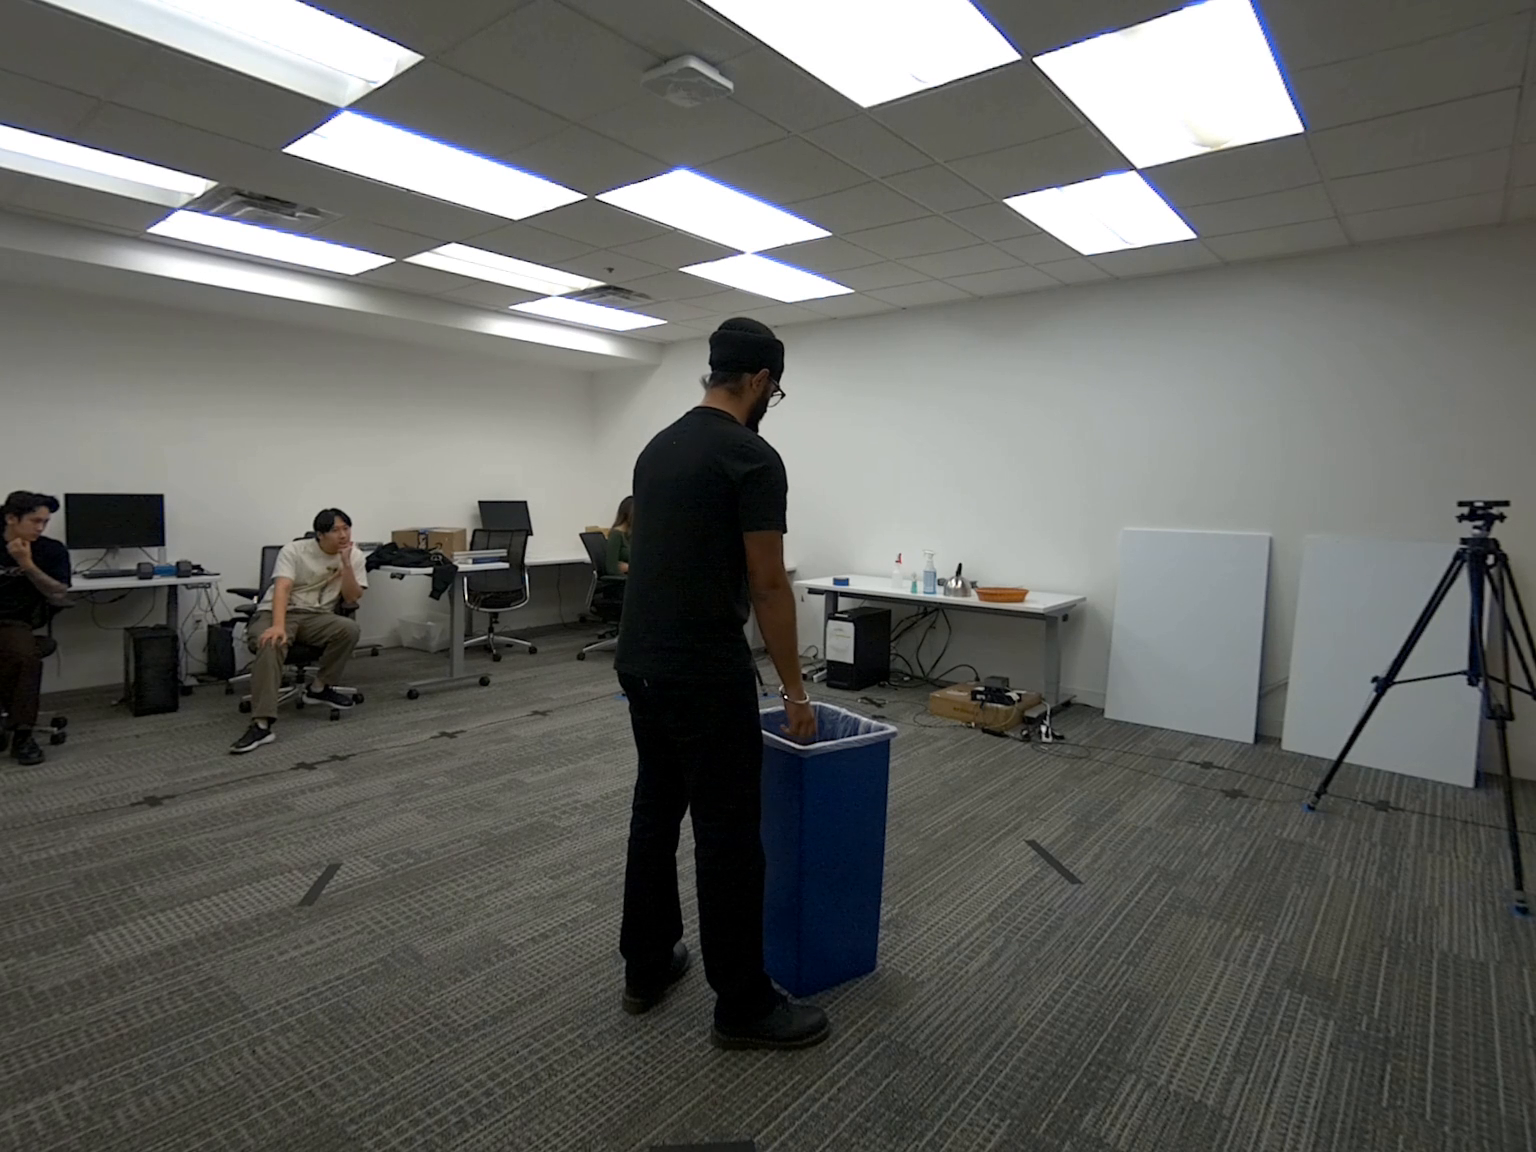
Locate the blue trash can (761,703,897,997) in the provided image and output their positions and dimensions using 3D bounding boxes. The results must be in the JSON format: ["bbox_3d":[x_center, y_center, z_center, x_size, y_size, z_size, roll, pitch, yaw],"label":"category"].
[{"bbox_3d":[0.111,0.781,2.507,0.363,0.711,0.390,-1,4,-36],"label":"blue trash can"}]
